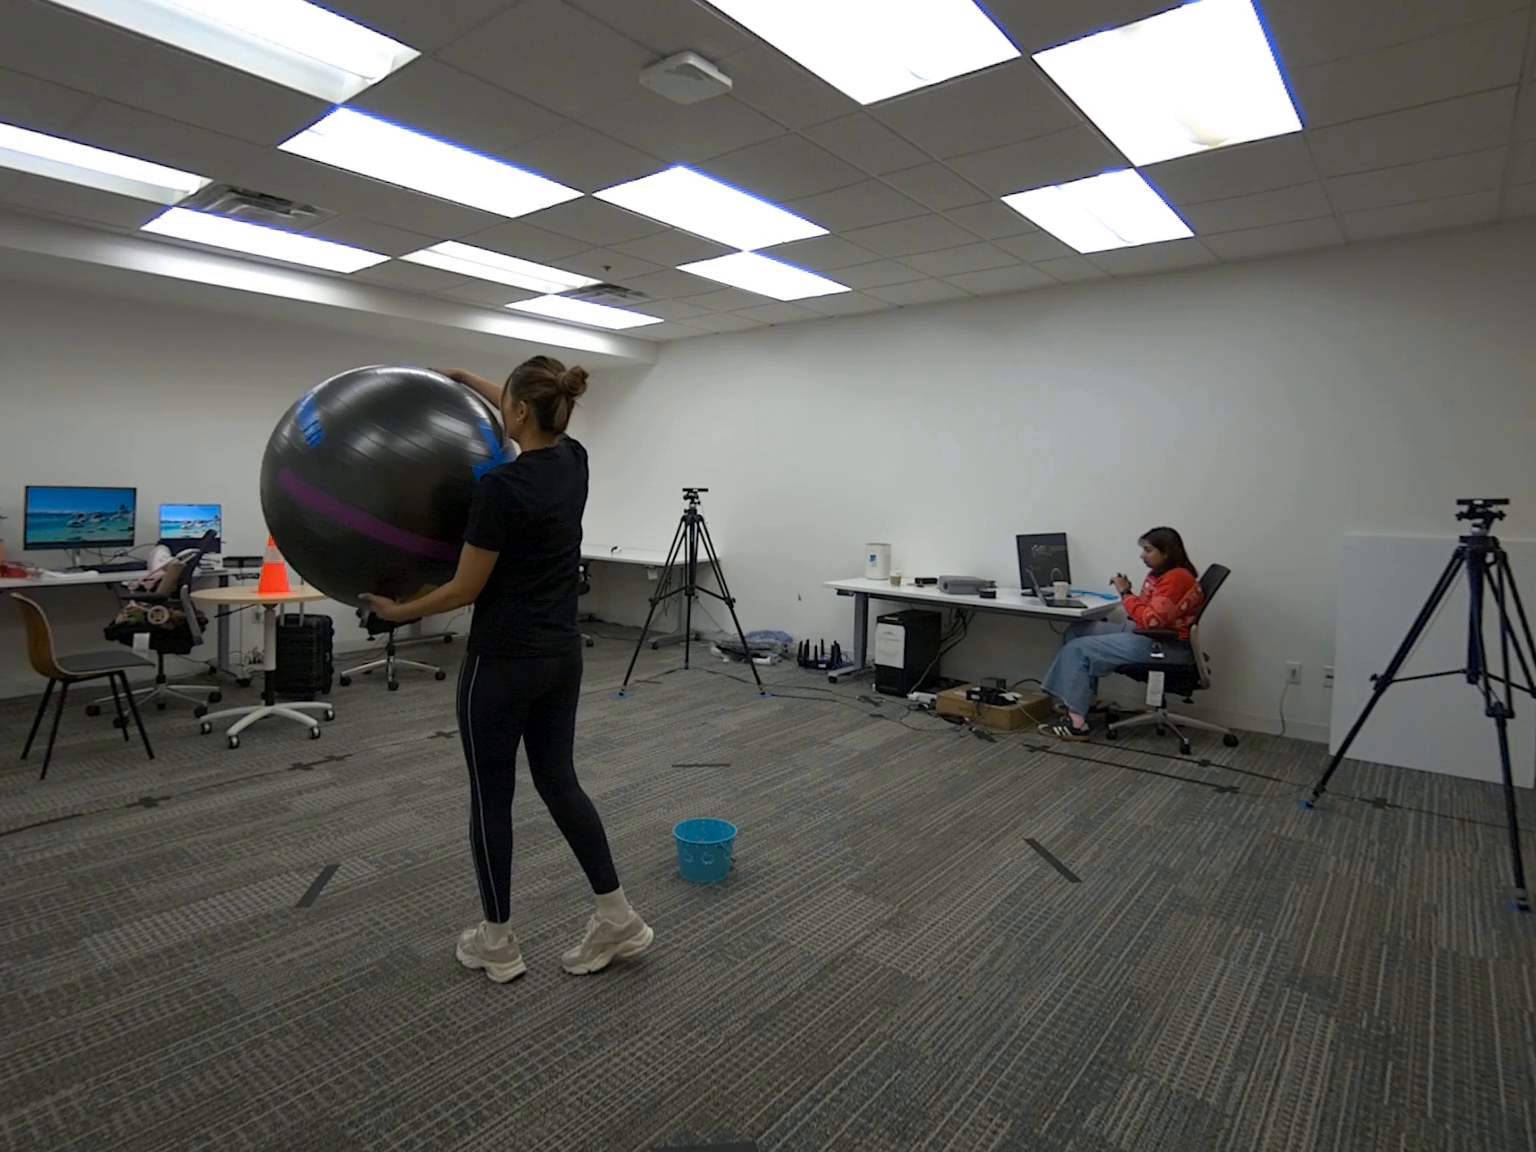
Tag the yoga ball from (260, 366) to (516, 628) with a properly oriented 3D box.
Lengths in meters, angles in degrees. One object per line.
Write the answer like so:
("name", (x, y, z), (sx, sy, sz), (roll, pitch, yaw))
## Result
("yoga ball", (-1.167, -0.261, 2.619), (0.757, 0.756, 0.761), (1, 4, -2))
